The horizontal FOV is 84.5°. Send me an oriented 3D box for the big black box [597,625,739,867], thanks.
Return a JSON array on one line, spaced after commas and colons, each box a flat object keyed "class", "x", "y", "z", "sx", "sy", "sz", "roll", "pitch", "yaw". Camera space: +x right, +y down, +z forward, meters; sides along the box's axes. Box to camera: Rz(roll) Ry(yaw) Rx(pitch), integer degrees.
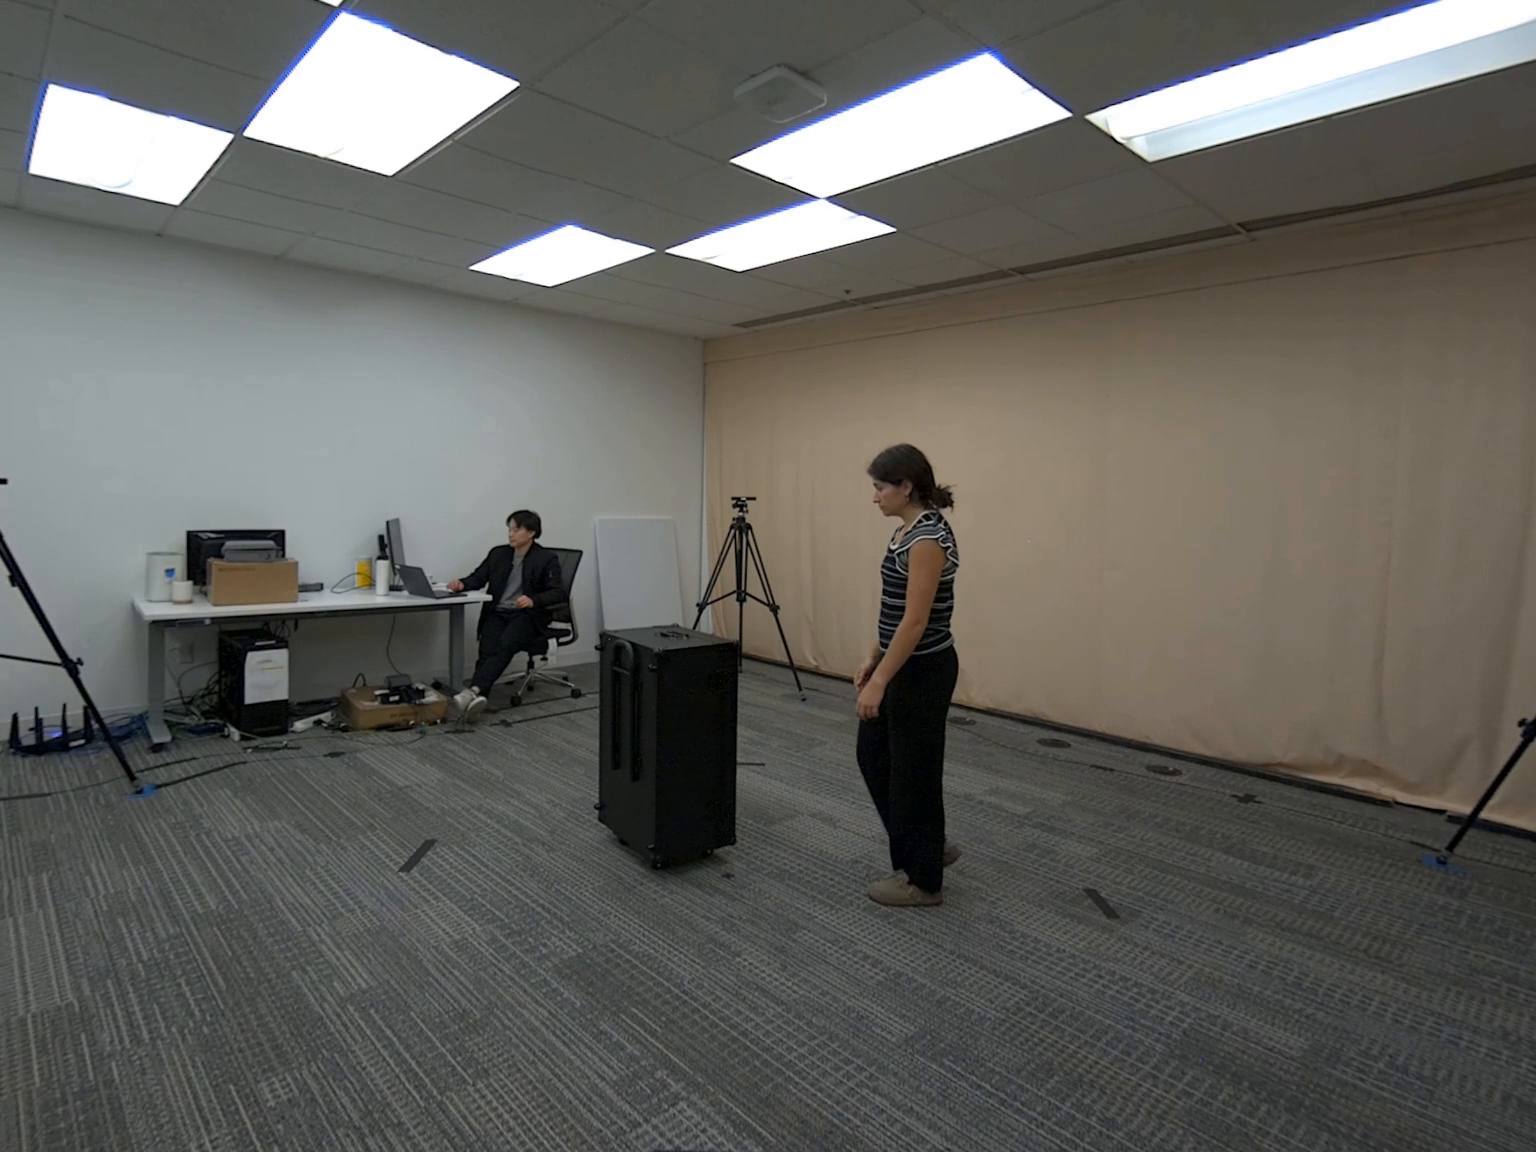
[{"class": "big black box", "x": -0.415, "y": 0.658, "z": 3.297, "sx": 0.388, "sy": 0.859, "sz": 0.534, "roll": -2, "pitch": 5, "yaw": -35}]
